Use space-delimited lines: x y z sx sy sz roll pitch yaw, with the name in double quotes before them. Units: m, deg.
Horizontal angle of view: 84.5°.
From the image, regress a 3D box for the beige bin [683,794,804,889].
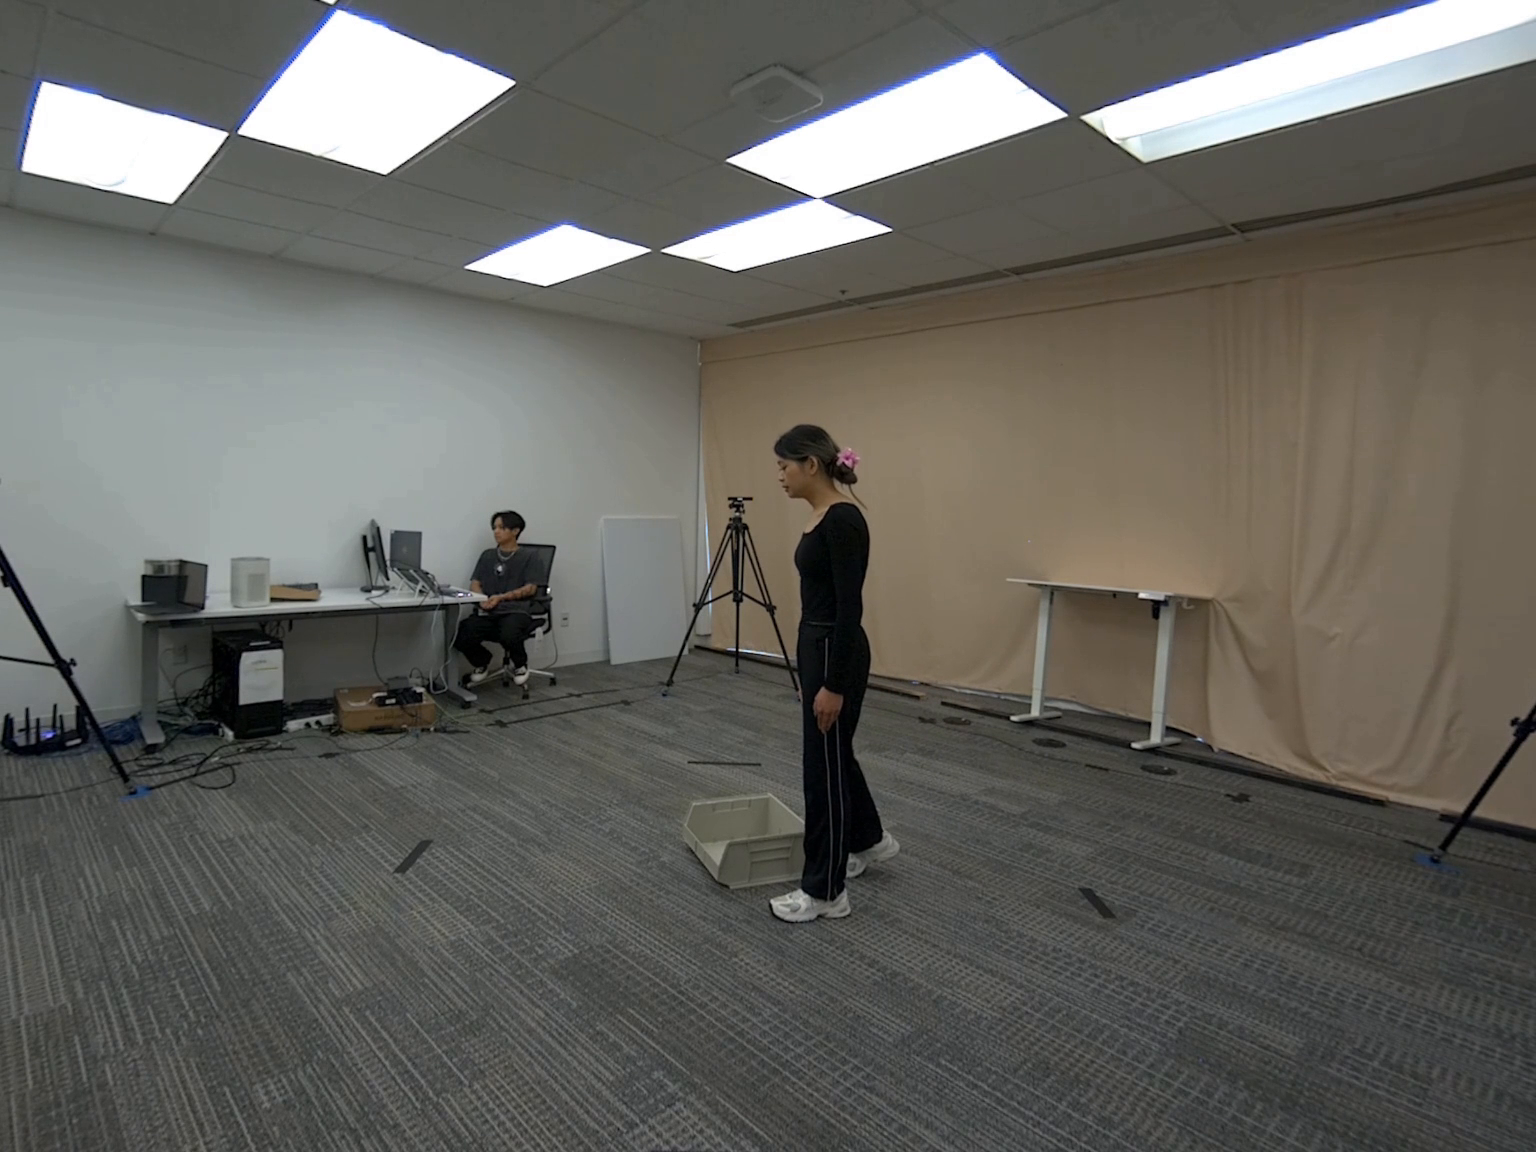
"beige bin" -0.093 1.010 3.229 0.371 0.188 0.430 1 4 -23
